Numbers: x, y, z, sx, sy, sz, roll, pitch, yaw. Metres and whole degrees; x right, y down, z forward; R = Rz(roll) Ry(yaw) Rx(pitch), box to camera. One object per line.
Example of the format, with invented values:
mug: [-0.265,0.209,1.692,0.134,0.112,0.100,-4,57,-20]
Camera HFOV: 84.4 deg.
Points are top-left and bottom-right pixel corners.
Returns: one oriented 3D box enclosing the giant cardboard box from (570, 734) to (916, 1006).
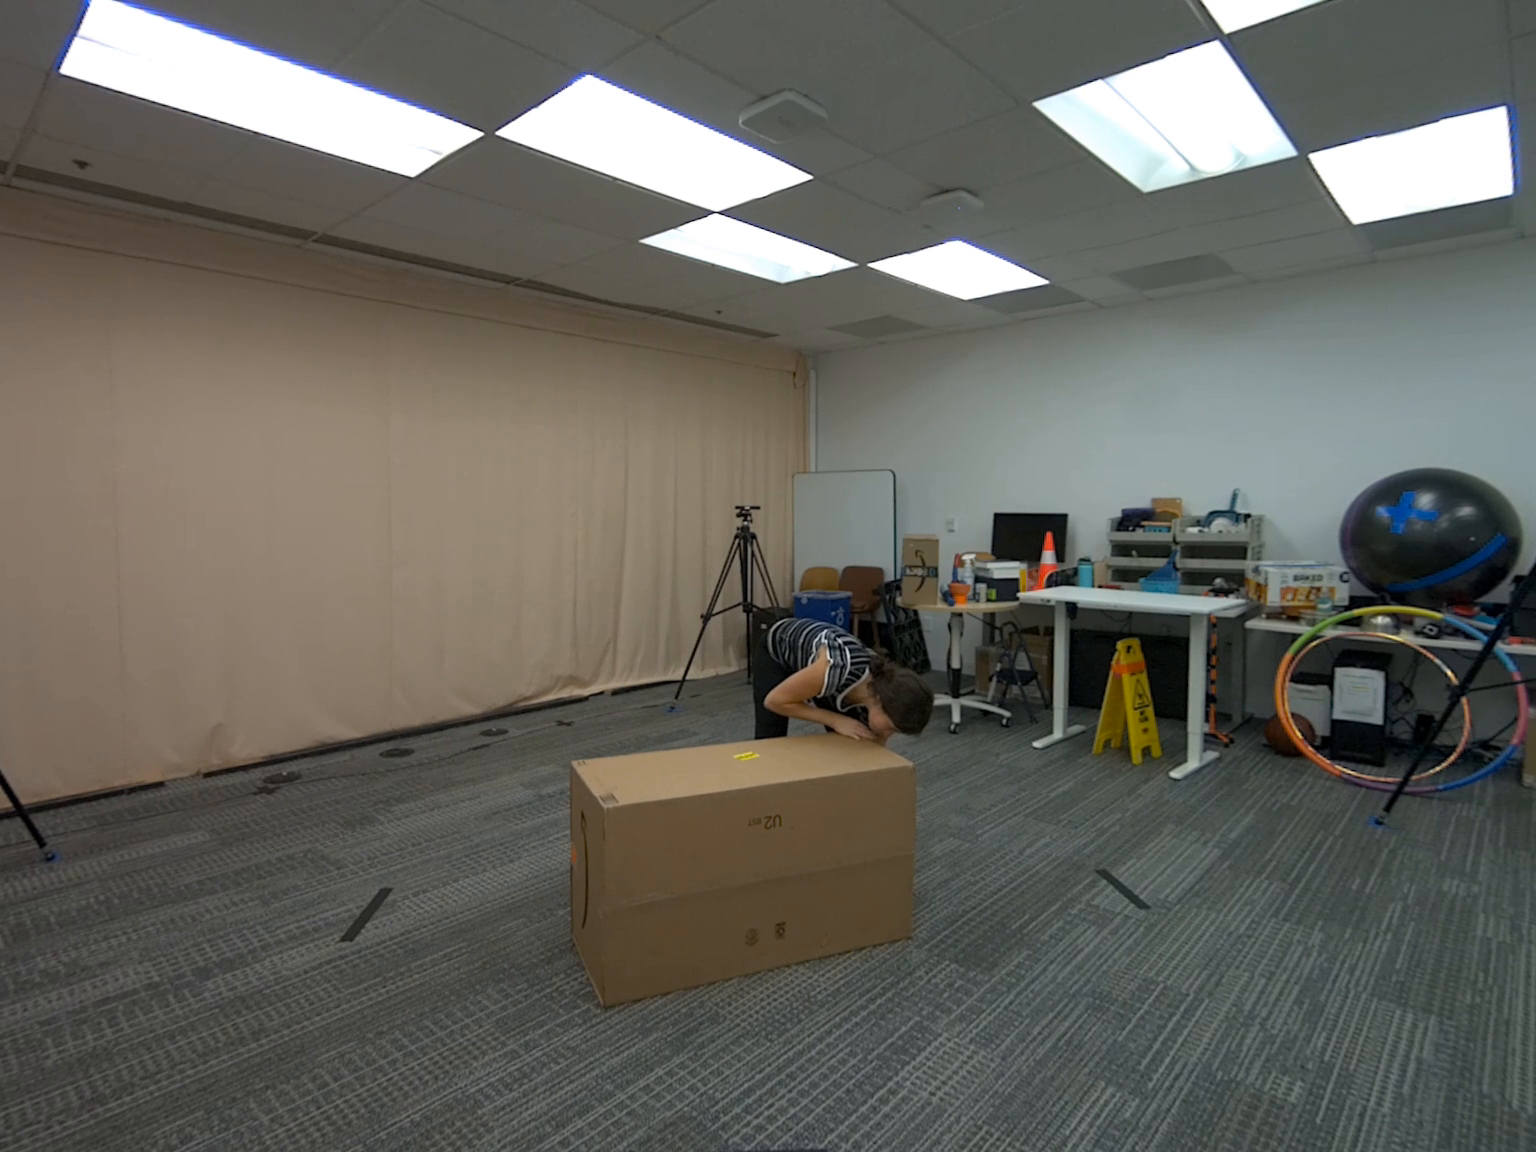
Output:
giant cardboard box: [-0.087,0.881,2.692,1.004,0.576,0.437,-2,5,-22]
